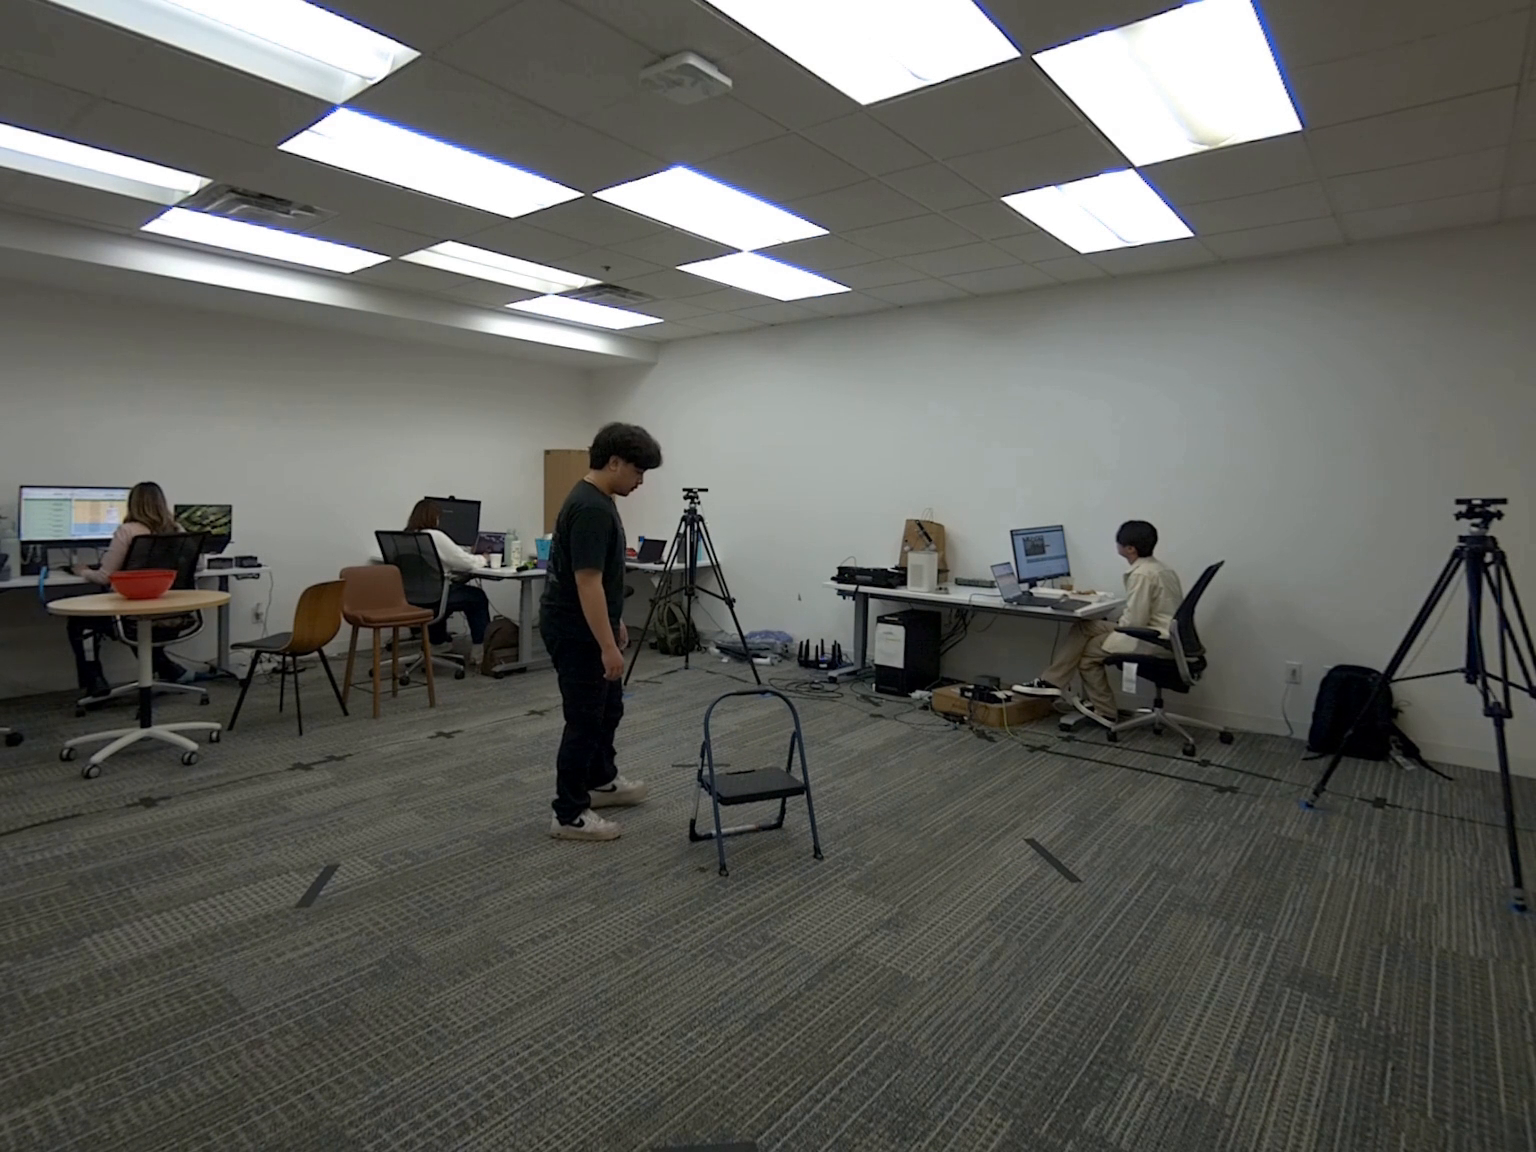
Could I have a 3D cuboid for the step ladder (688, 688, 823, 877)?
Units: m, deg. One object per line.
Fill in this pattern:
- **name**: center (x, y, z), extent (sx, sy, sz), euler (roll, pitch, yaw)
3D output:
- **step ladder**: center (-0.056, 0.750, 3.281), extent (0.420, 0.604, 0.359), euler (0, 3, -26)
